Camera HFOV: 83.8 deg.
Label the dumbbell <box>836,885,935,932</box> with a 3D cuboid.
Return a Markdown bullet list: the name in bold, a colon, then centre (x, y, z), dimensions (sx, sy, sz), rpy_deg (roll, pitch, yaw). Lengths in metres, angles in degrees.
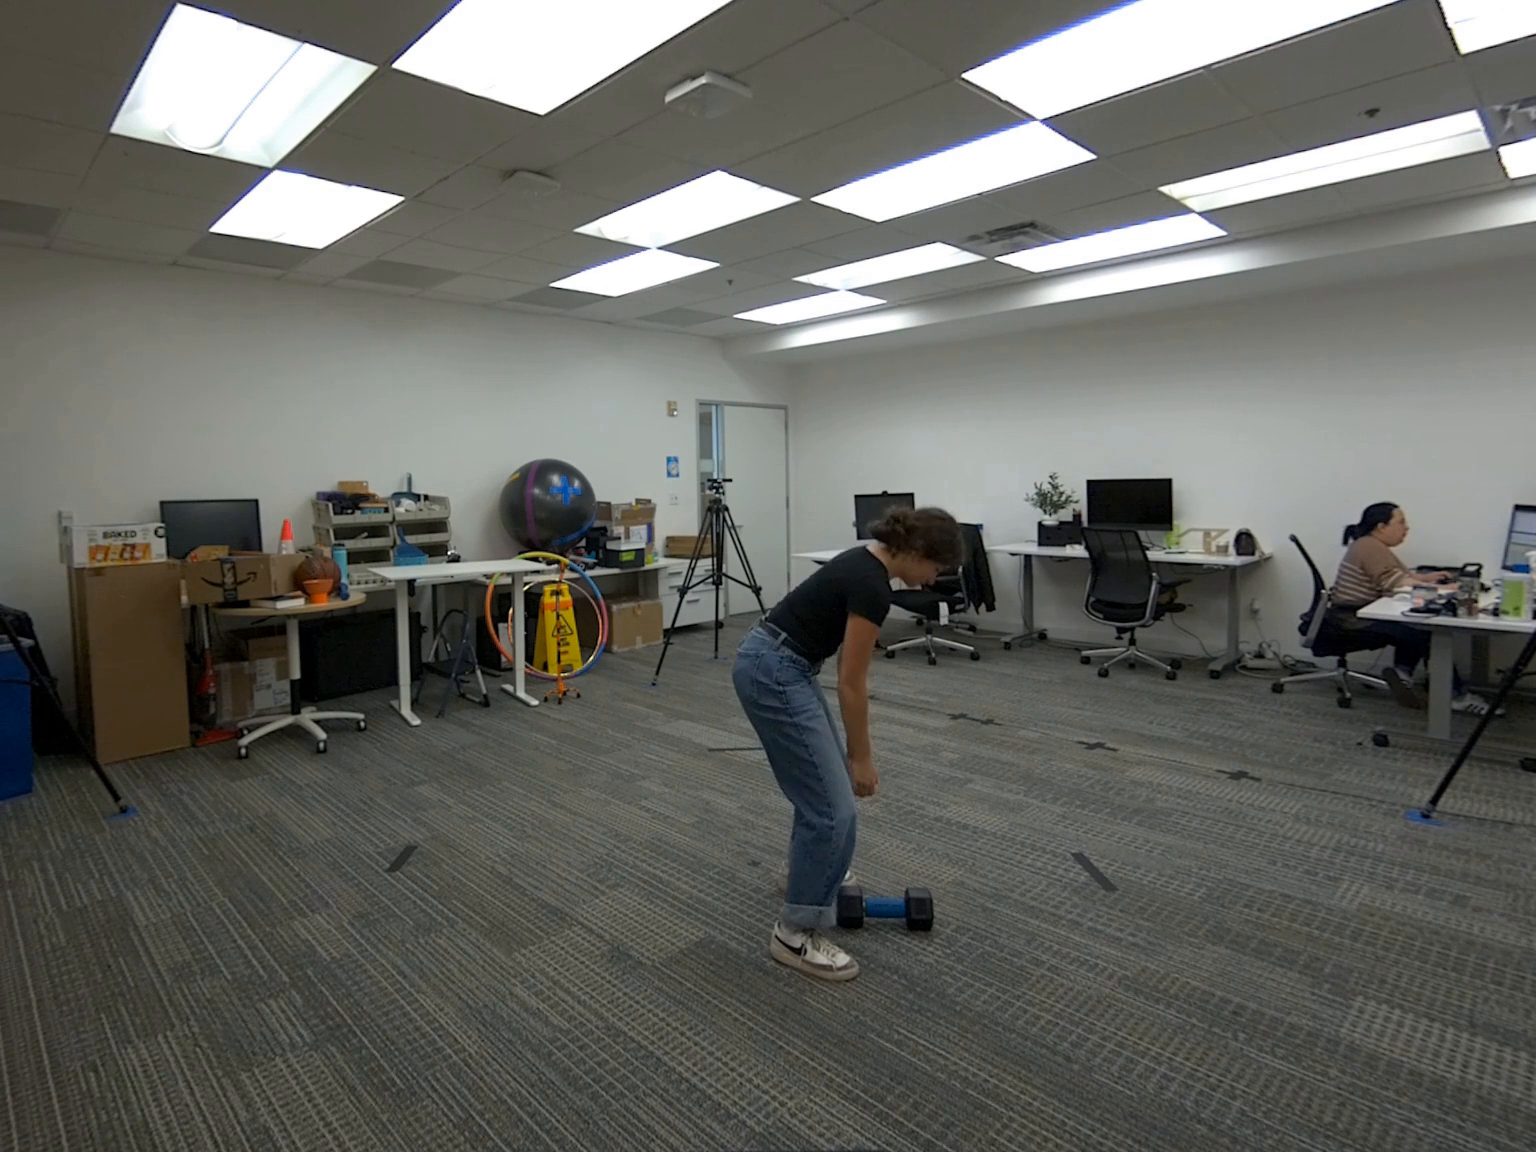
- **dumbbell**: centre (0.368, 1.037, 2.661), dimensions (0.295, 0.125, 0.106), rpy_deg (-1, -27, 5)
